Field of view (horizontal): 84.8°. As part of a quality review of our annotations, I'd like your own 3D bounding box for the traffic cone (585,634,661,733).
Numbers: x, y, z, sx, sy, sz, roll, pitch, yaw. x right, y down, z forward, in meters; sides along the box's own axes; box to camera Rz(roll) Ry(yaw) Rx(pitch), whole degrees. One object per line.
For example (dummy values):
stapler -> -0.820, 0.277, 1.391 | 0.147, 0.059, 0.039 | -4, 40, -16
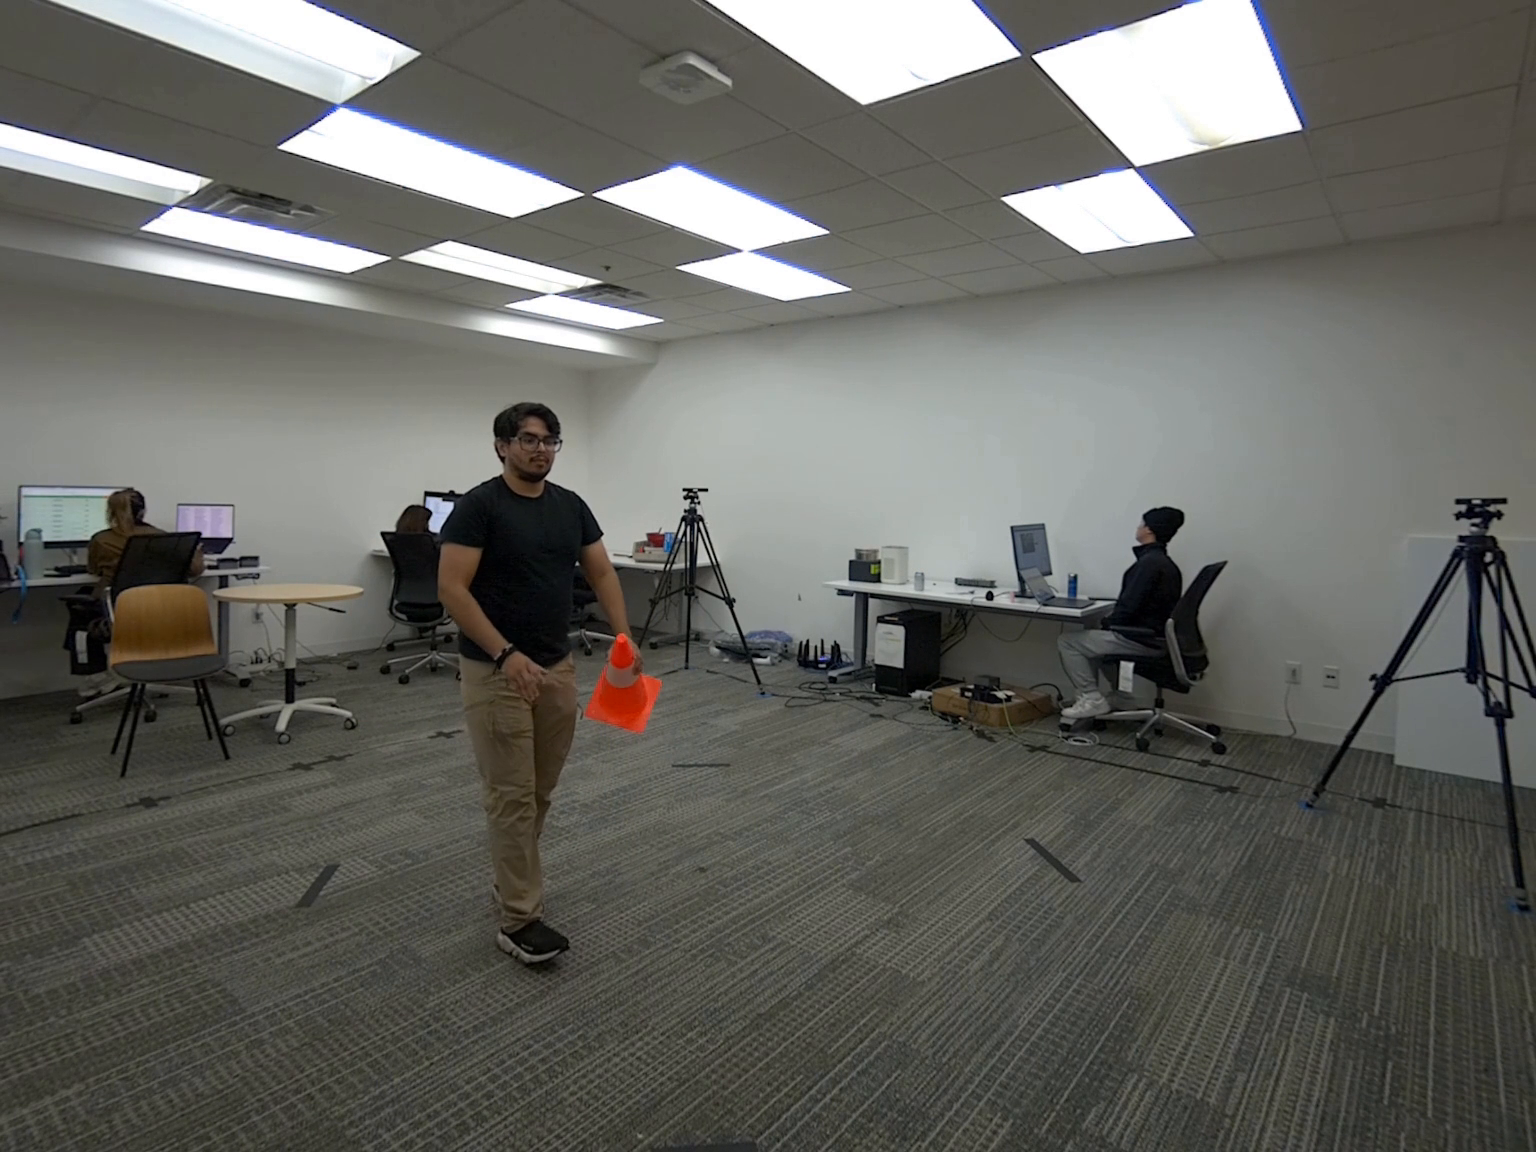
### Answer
traffic cone -> -0.461, 0.281, 2.581 | 0.209, 0.203, 0.375 | 34, -32, 14
